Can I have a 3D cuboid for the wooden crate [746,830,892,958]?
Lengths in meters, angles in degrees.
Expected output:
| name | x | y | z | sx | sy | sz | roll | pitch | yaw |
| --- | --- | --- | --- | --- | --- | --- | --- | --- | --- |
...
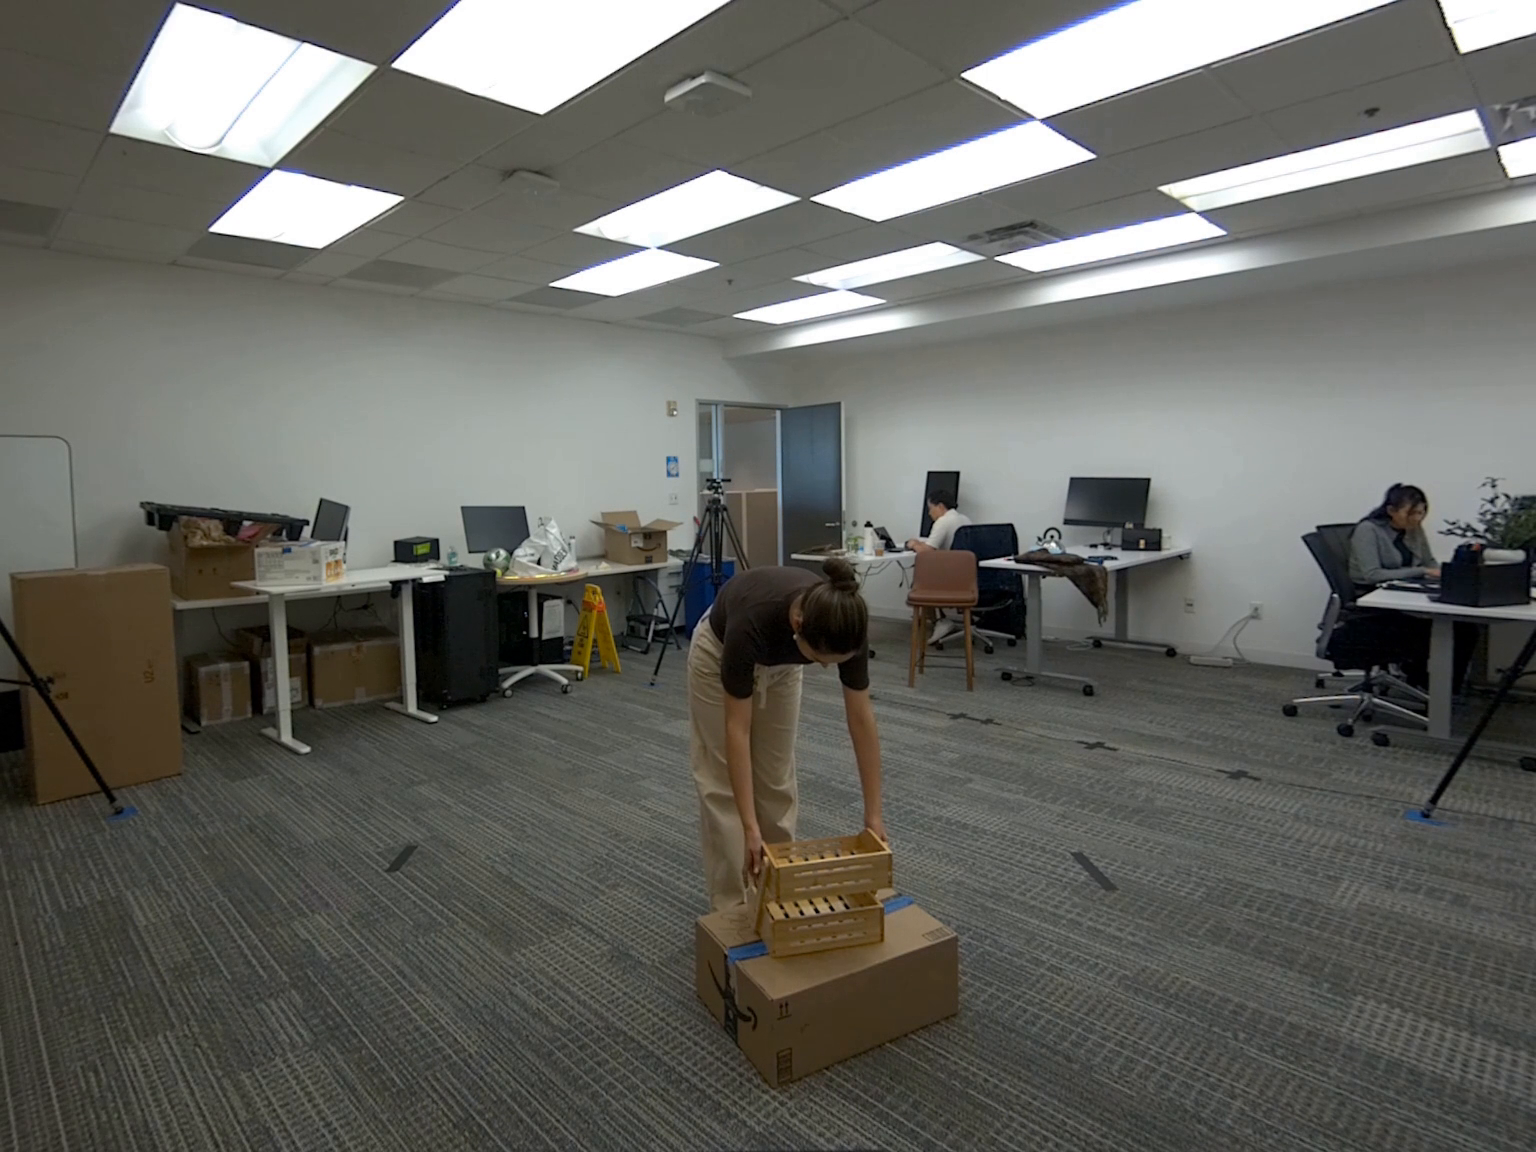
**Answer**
| name | x | y | z | sx | sy | sz | roll | pitch | yaw |
| --- | --- | --- | --- | --- | --- | --- | --- | --- | --- |
| wooden crate | 0.126 | 0.791 | 2.249 | 0.320 | 0.272 | 0.307 | -3 | 7 | -14 |
